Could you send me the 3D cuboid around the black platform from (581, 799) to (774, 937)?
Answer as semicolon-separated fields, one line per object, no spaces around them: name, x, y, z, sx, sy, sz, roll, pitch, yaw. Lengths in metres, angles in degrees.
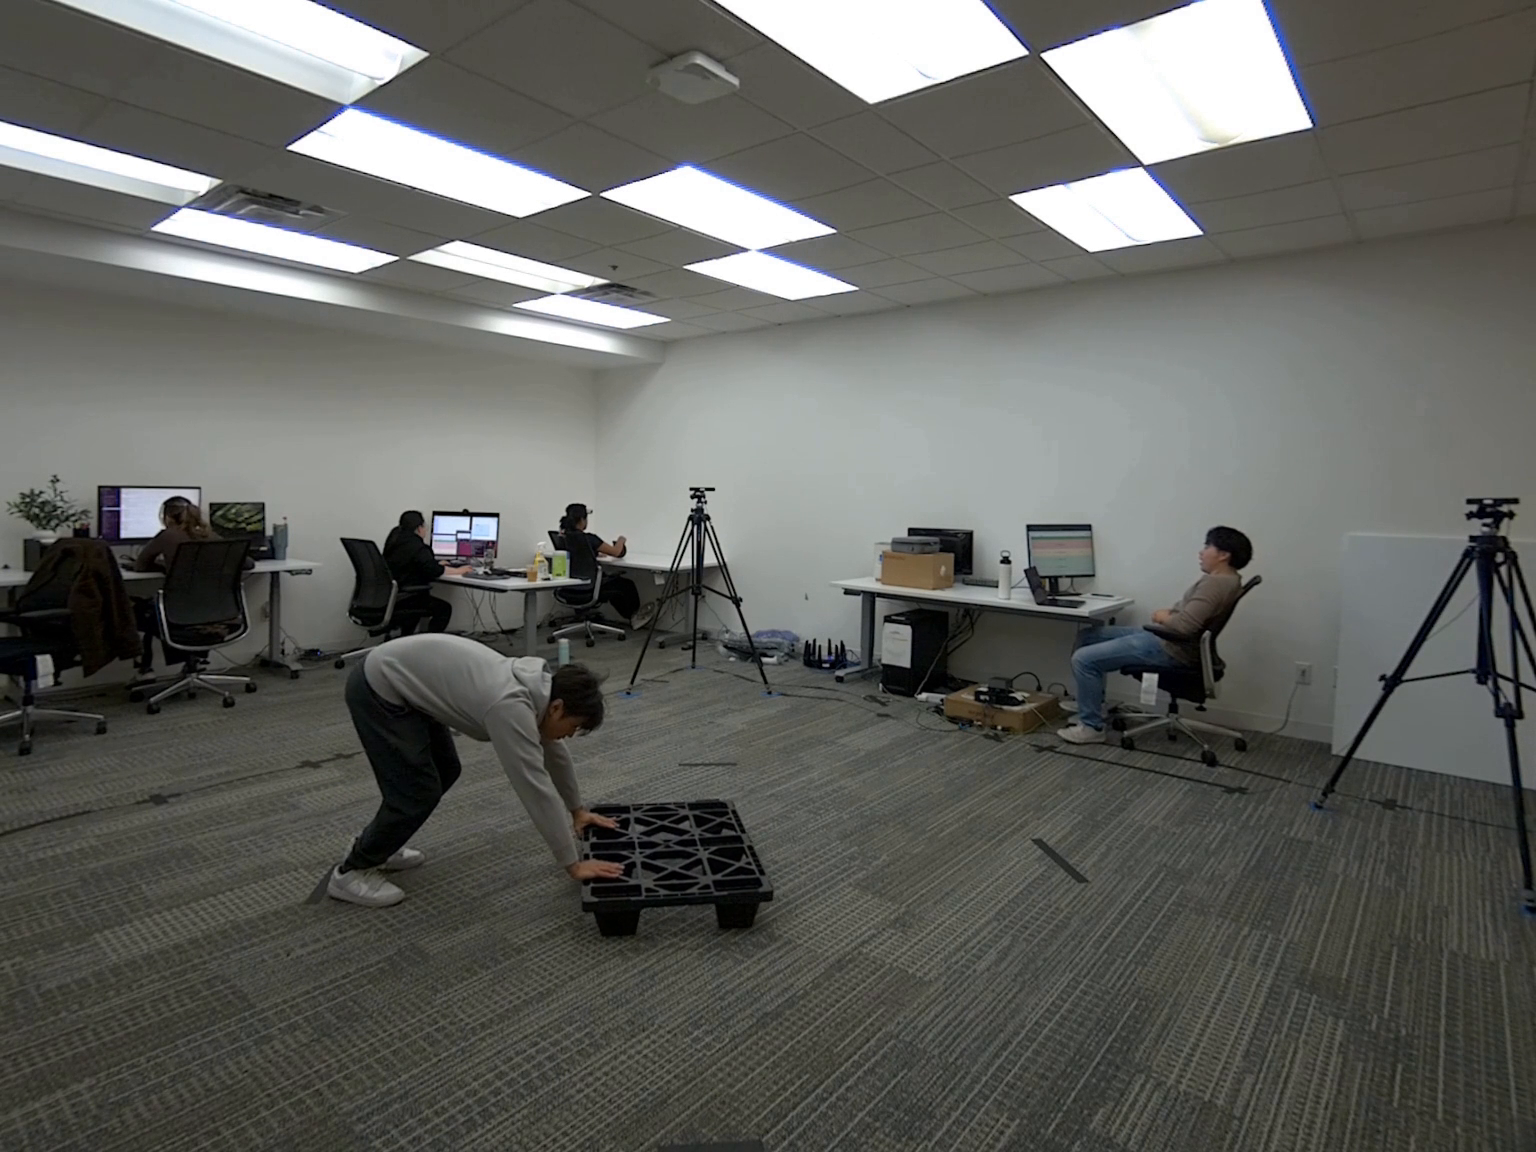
black platform;-0.363;1.003;3.011;0.599;0.143;0.818;0;6;-11
